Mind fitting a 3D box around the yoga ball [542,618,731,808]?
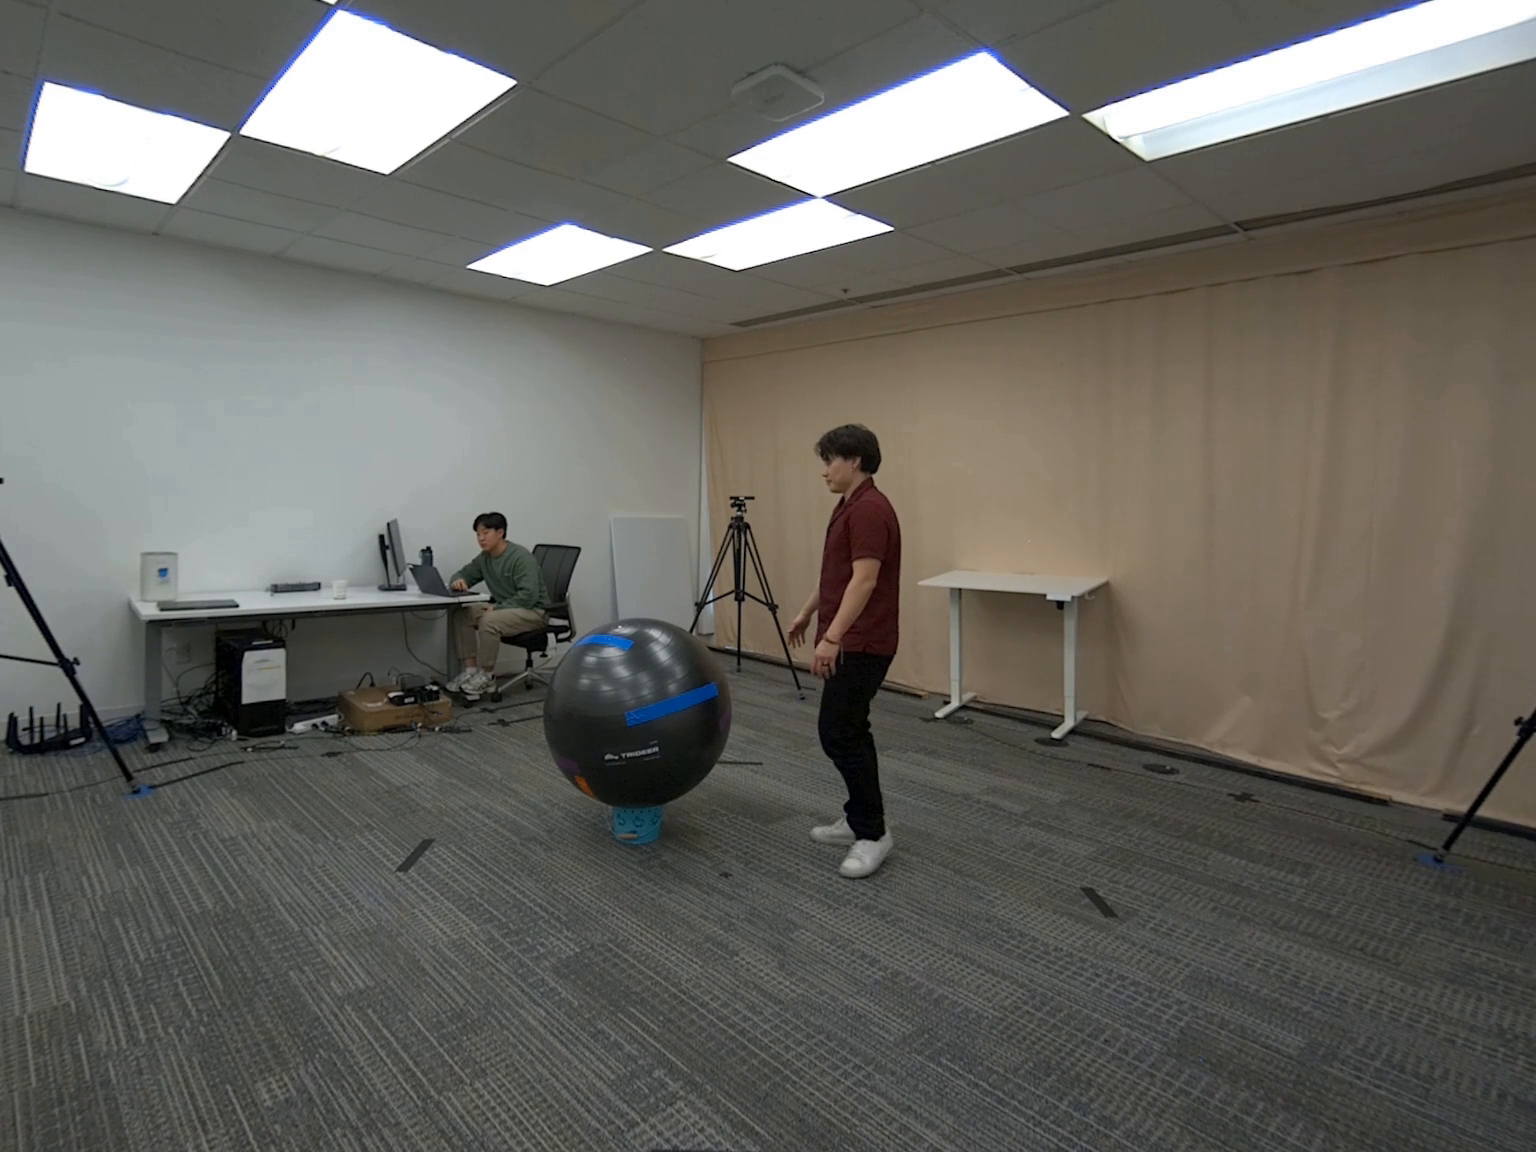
[{"bbox_3d":[-0.542,0.557,3.428,0.757,0.756,0.761,1,4,-1],"label":"yoga ball"}]
